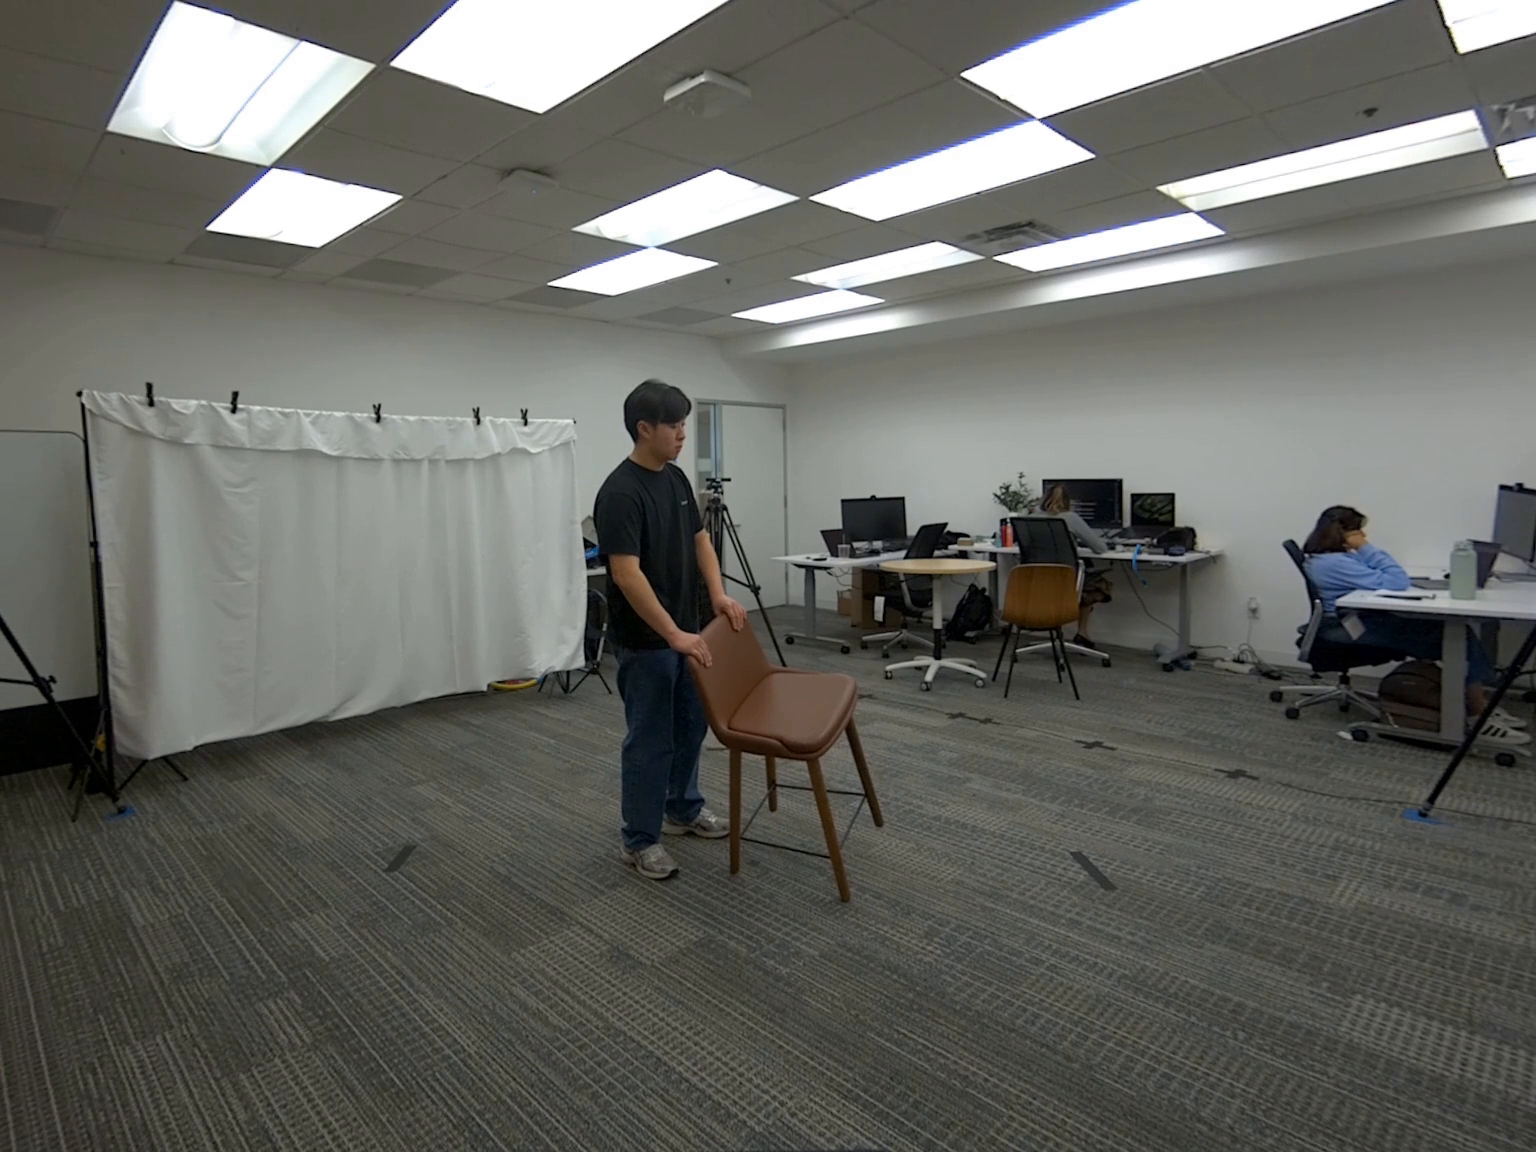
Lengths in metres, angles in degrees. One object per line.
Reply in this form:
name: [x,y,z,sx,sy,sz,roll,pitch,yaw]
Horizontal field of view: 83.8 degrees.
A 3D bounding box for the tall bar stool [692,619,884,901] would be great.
tall bar stool: [0.073,0.587,2.941,0.479,0.874,0.454,-2,20,29]
